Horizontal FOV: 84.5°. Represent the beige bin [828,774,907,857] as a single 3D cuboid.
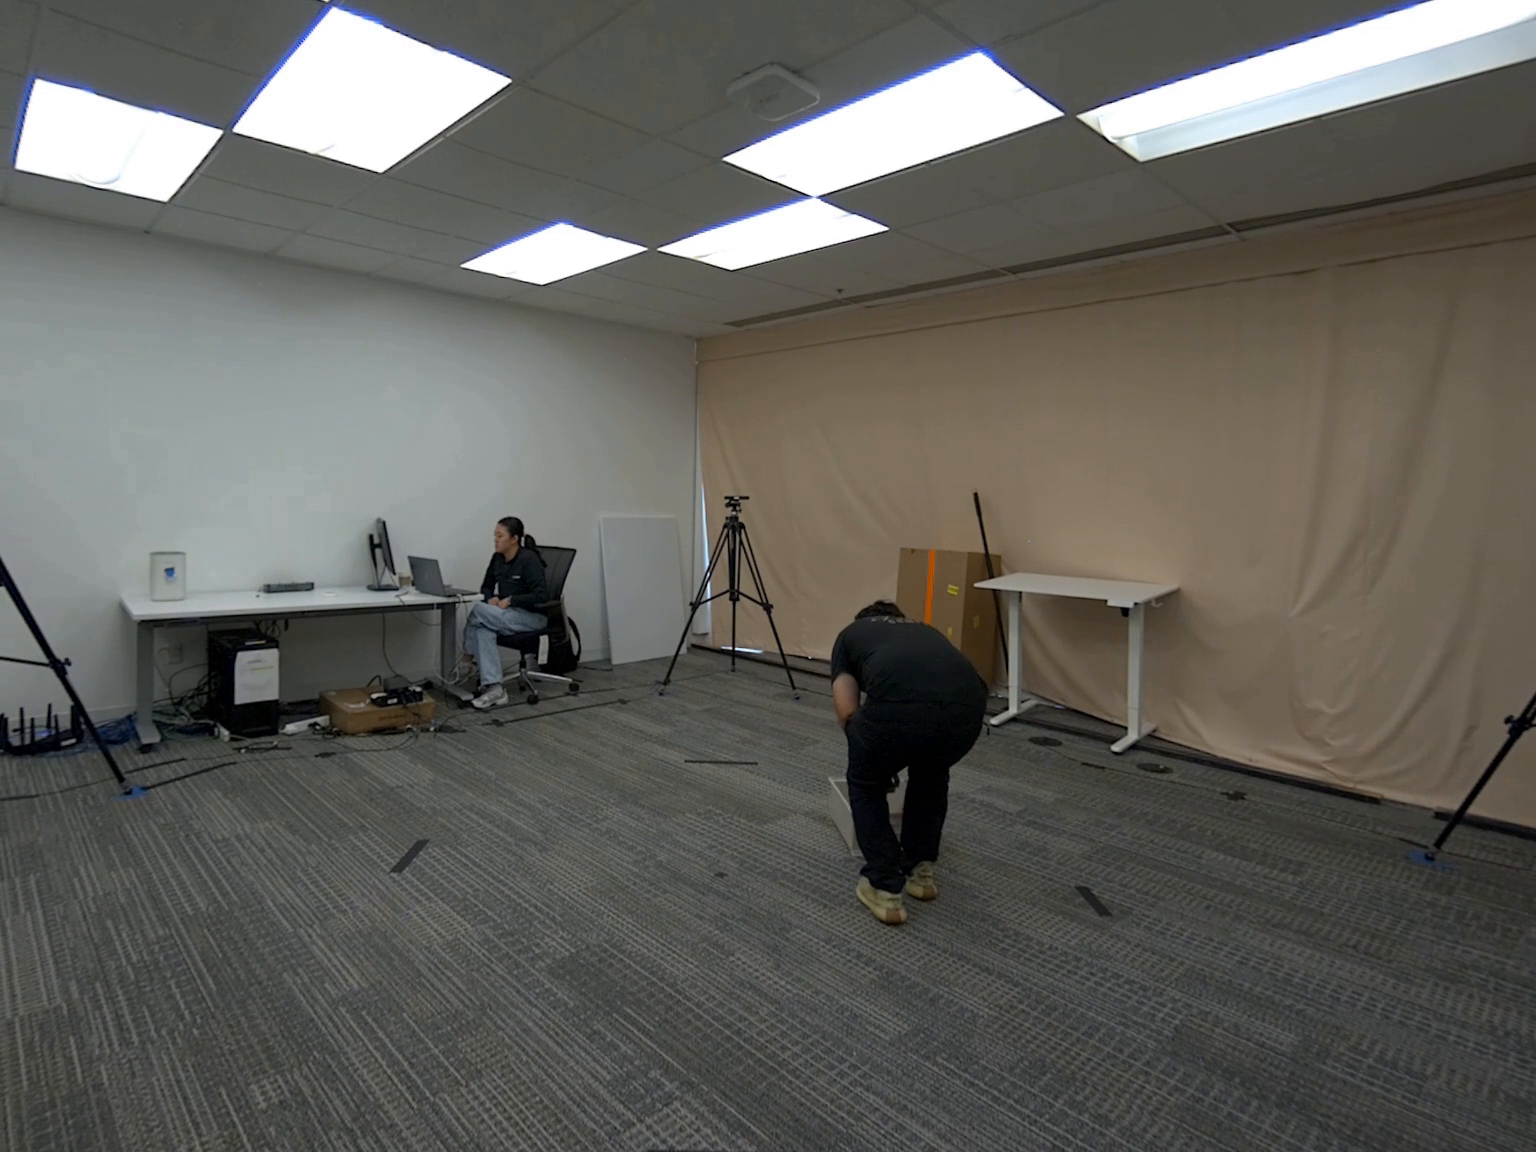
[{"bbox_3d":[0.480,0.999,3.509,0.375,0.188,0.426,0,6,-8],"label":"beige bin"}]
